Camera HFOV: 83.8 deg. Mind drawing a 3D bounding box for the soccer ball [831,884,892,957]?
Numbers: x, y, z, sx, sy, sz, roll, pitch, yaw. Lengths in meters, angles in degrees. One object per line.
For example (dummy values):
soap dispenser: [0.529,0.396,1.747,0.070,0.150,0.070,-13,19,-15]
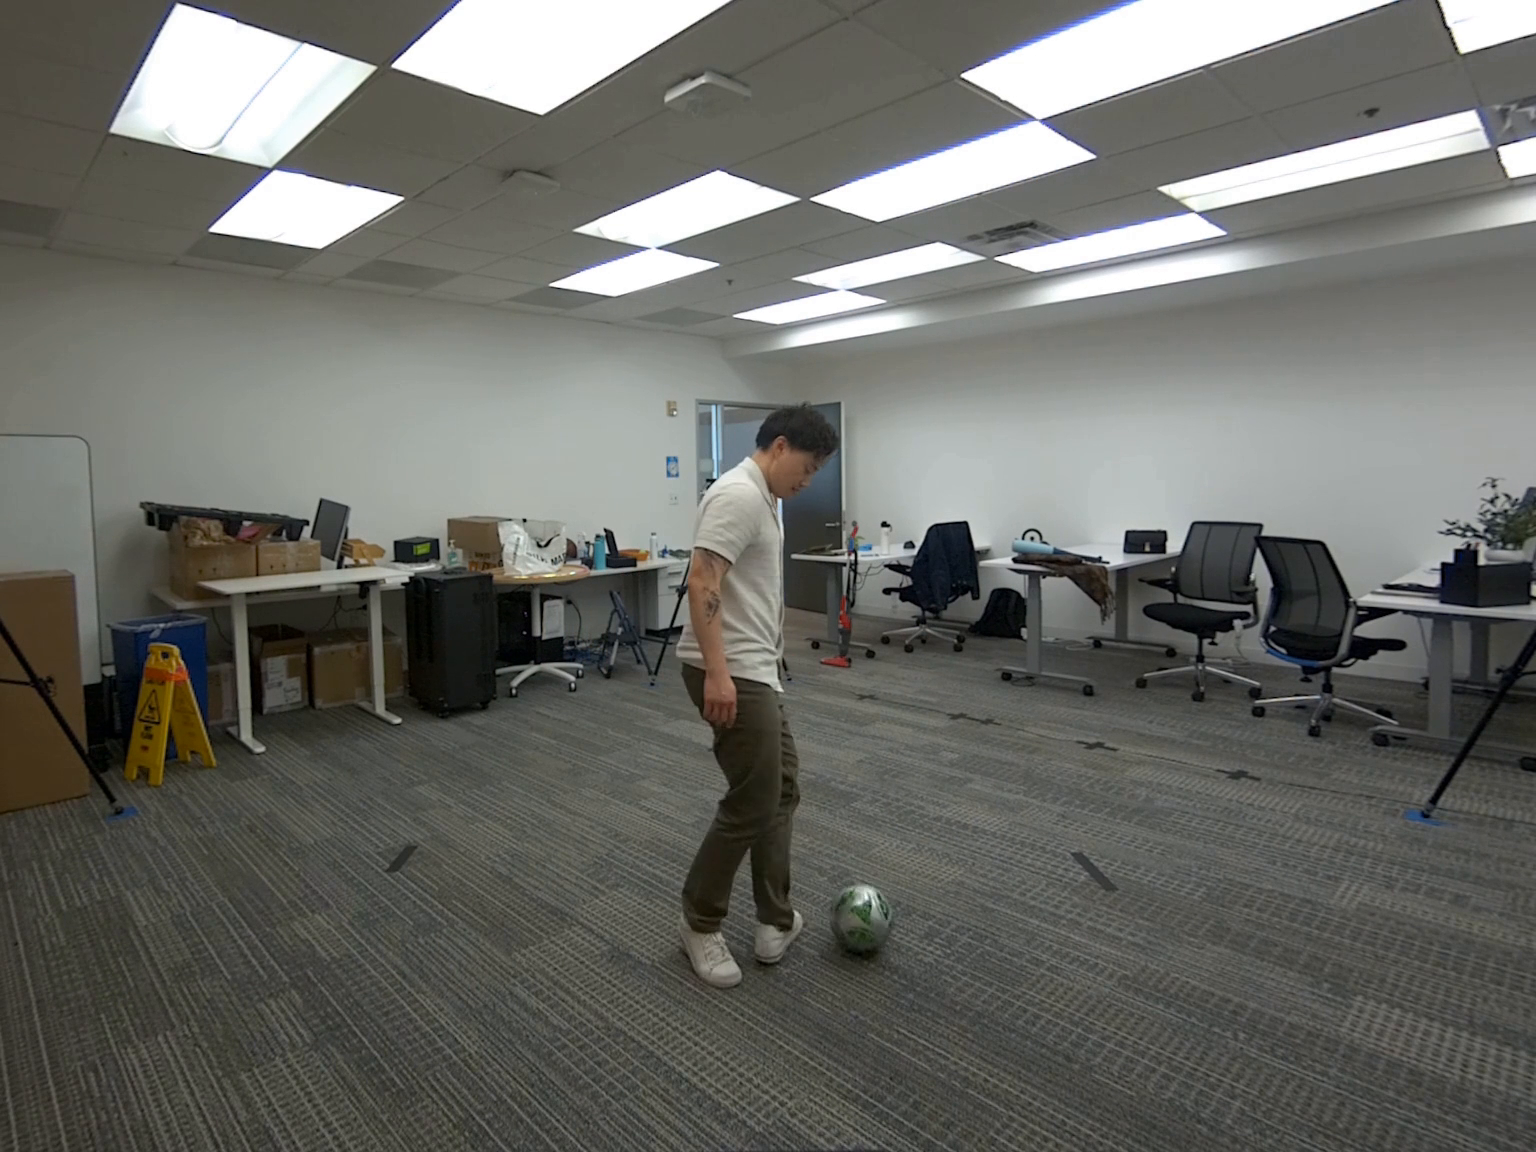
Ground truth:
soccer ball: [0.271,1.004,2.523,0.187,0.187,0.188,-1,5,-2]
